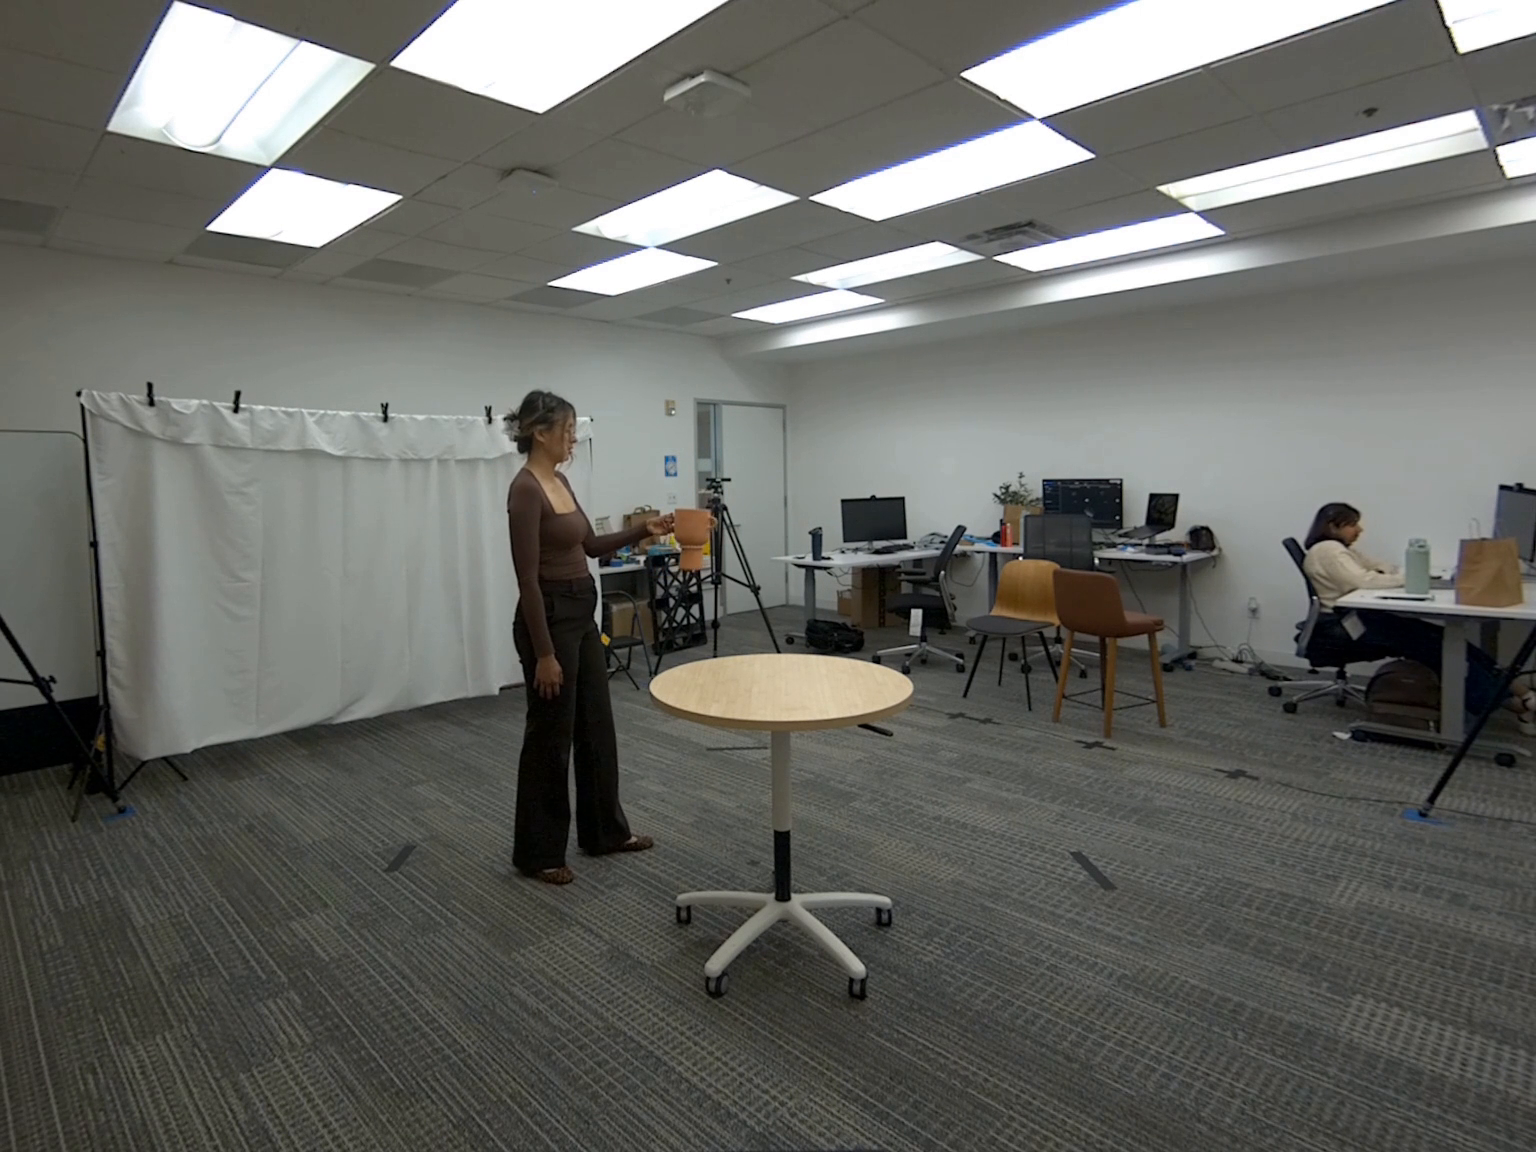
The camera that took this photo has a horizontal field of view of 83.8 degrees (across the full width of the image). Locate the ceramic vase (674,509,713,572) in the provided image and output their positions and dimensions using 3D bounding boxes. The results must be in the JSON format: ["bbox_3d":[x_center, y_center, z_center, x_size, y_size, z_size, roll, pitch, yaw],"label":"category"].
[{"bbox_3d":[-0.295,-0.133,3.139,0.131,0.219,0.163,0,4,-30],"label":"ceramic vase"}]
